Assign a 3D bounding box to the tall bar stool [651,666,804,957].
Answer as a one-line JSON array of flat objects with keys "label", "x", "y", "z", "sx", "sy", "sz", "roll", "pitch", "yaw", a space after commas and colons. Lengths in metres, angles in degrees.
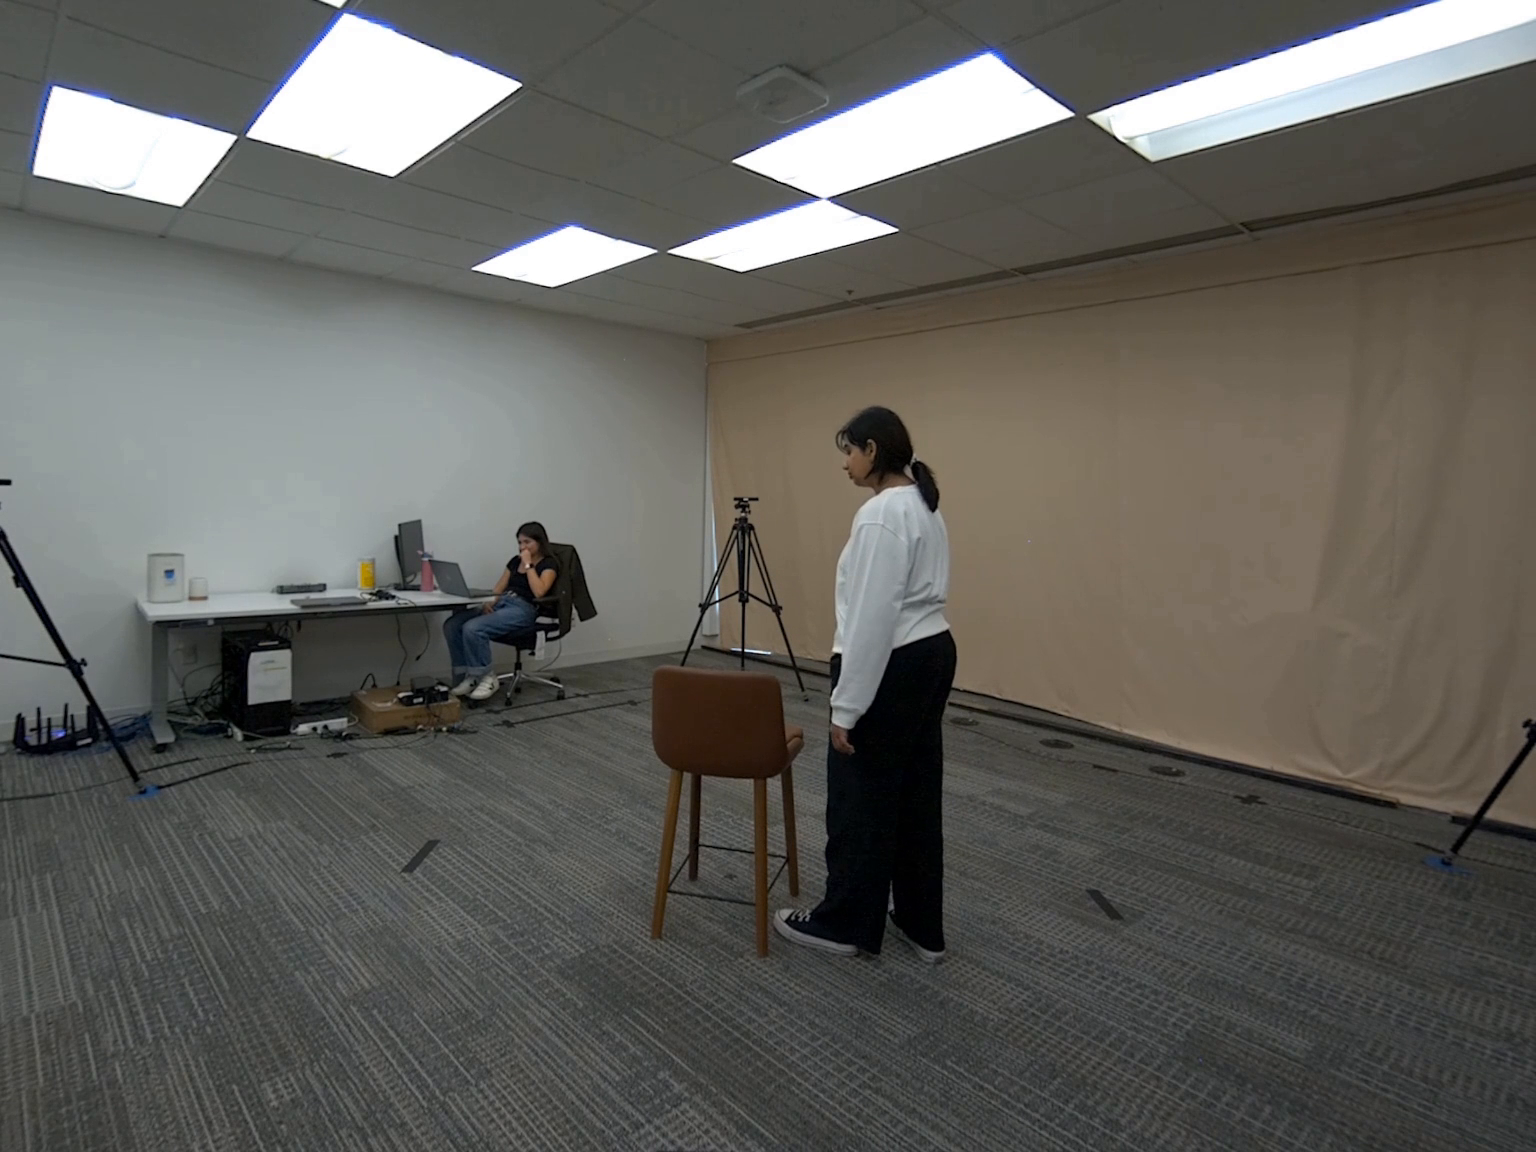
[{"label": "tall bar stool", "x": -0.133, "y": 0.705, "z": 2.793, "sx": 0.462, "sy": 0.887, "sz": 0.463, "roll": 3, "pitch": 5, "yaw": 15}]
